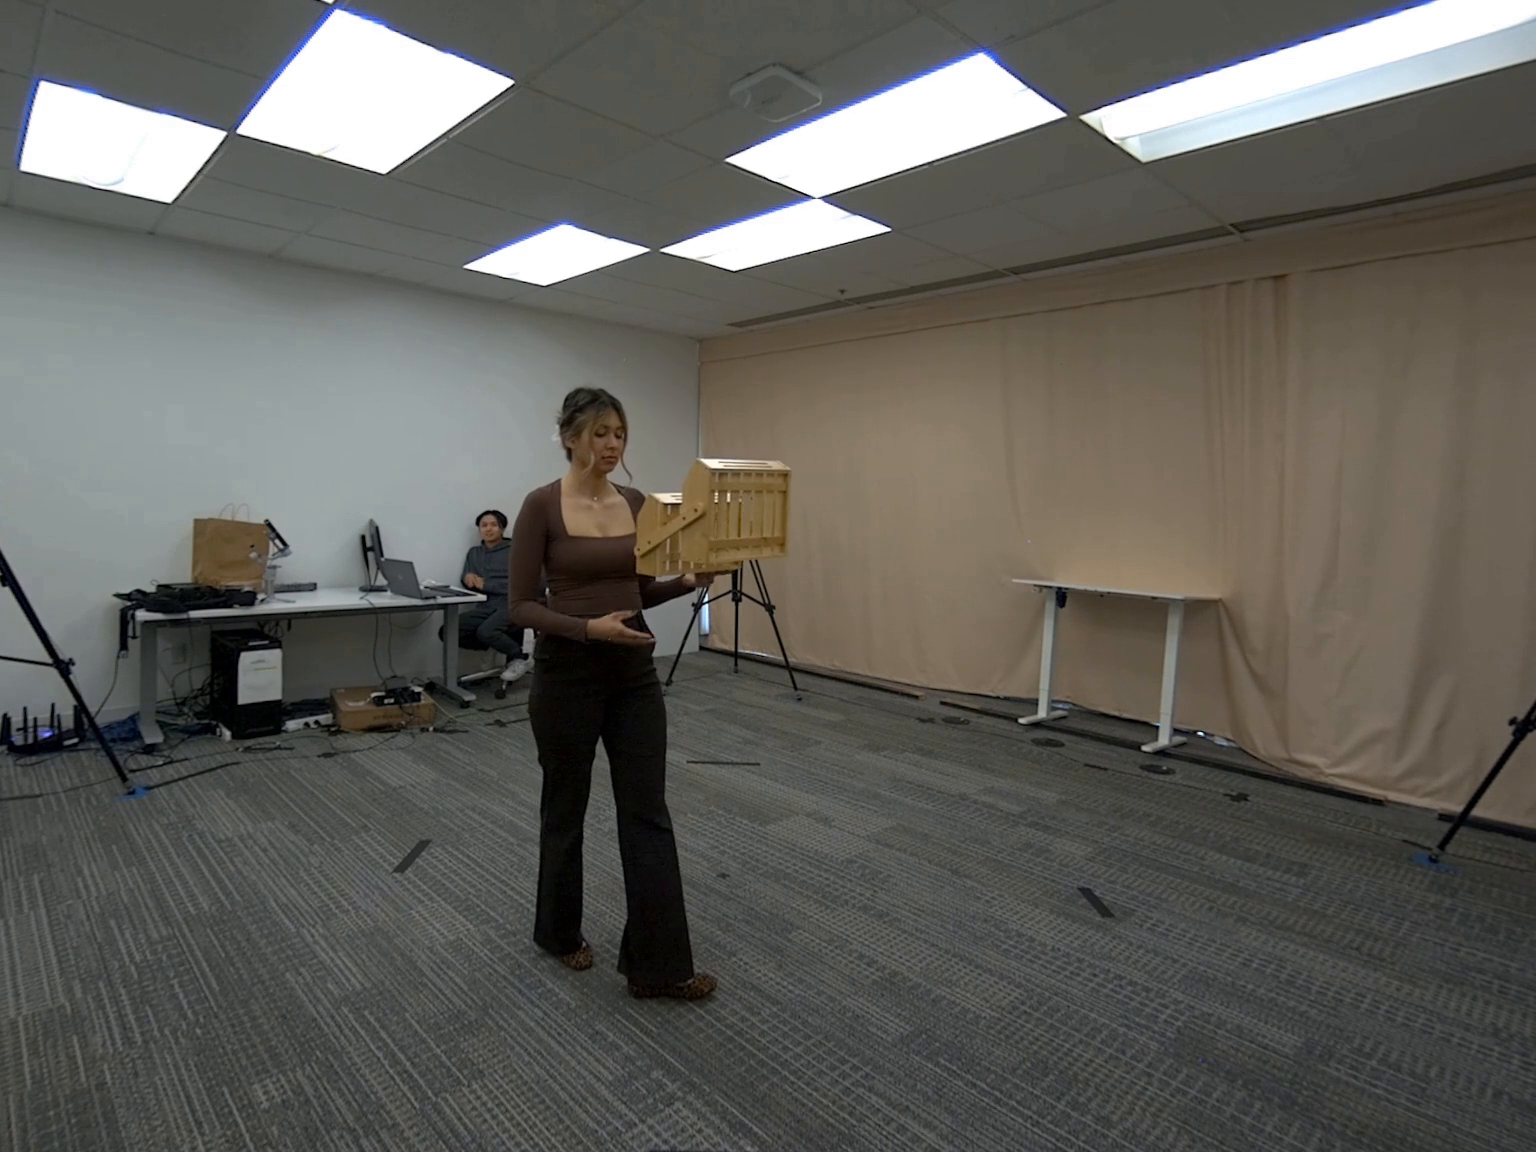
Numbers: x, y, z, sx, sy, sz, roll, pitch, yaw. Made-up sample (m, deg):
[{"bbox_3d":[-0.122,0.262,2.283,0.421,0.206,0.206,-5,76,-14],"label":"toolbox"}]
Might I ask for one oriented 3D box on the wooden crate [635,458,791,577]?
[{"bbox_3d":[-0.152,-0.154,2.187,0.280,0.300,0.317,8,10,43],"label":"wooden crate"}]
